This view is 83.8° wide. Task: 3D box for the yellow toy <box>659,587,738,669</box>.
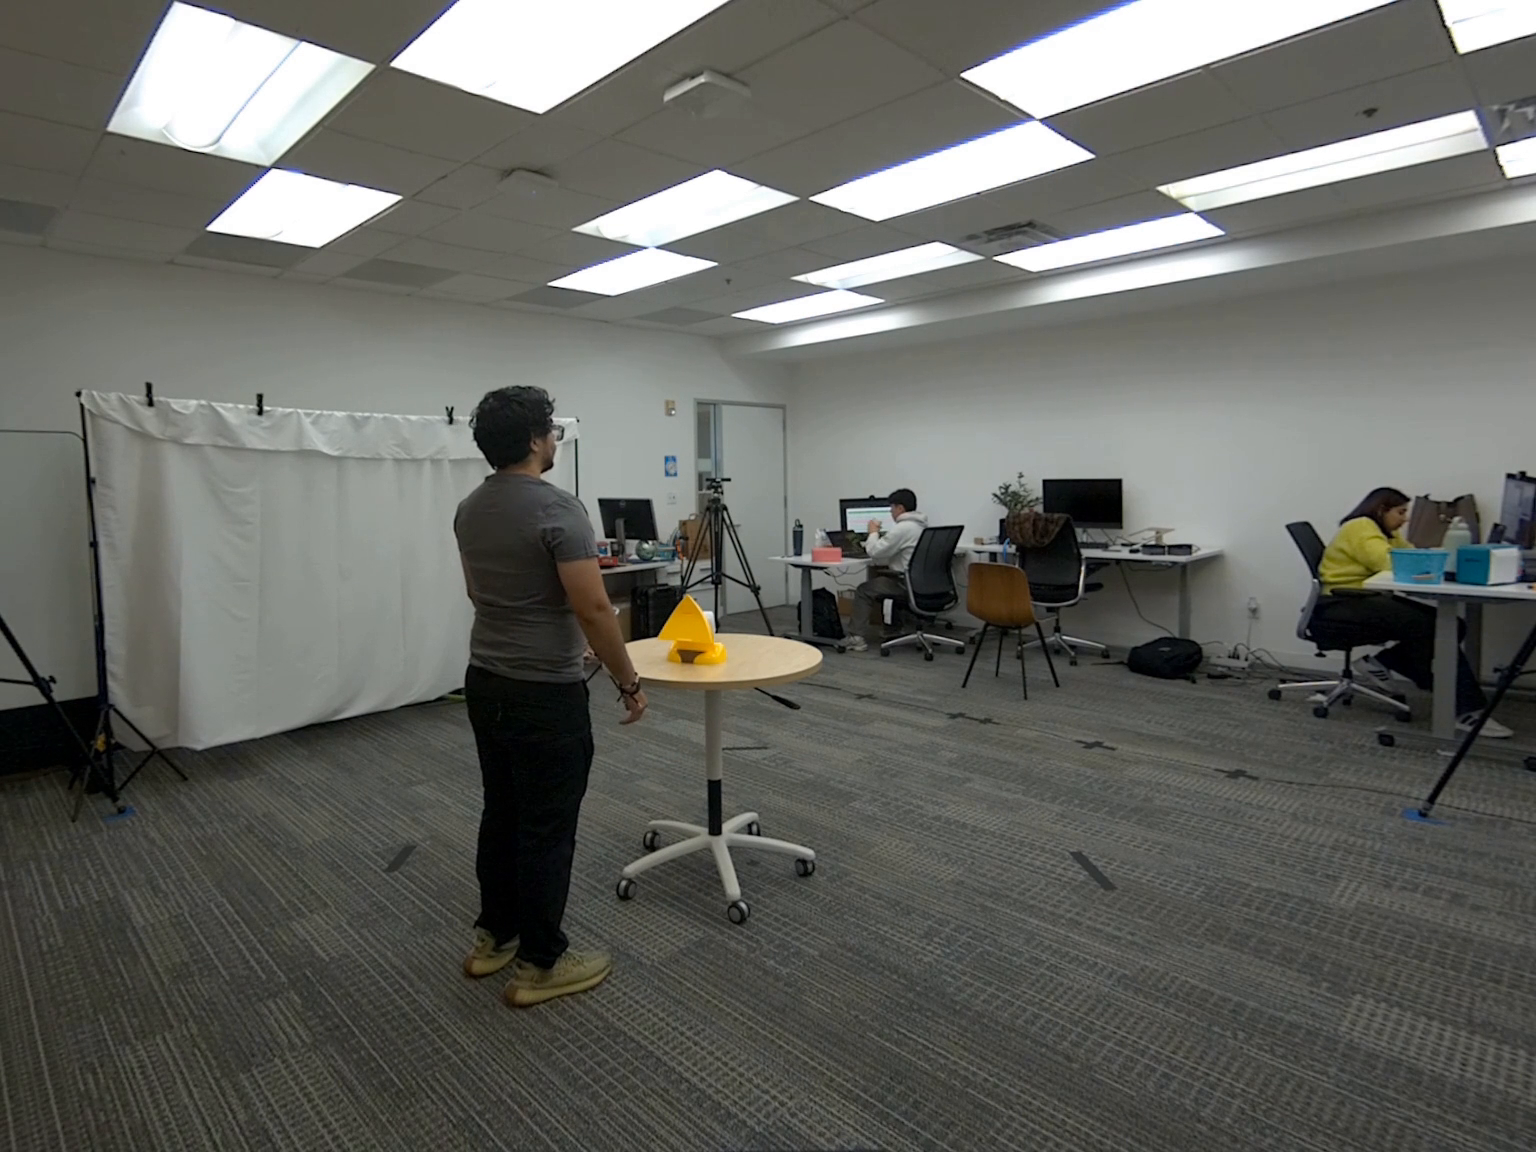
[{"bbox_3d":[-0.236,0.170,2.913,0.209,0.230,0.190,2,6,22],"label":"yellow toy"}]
